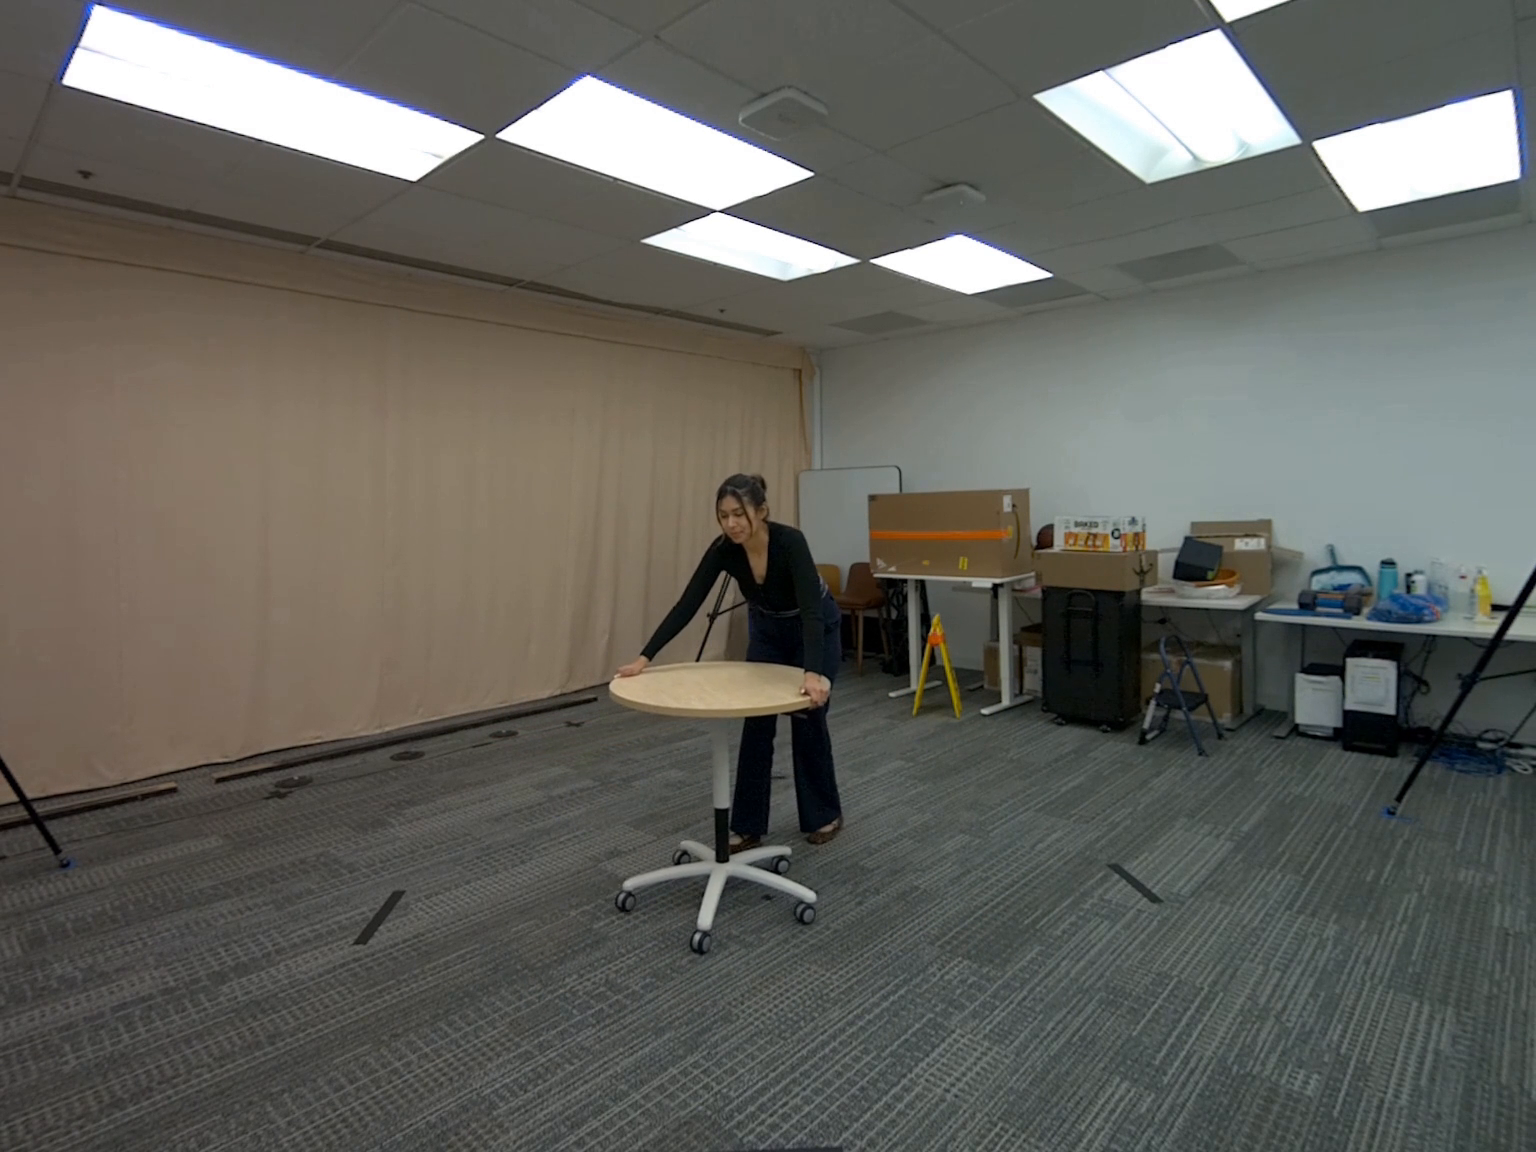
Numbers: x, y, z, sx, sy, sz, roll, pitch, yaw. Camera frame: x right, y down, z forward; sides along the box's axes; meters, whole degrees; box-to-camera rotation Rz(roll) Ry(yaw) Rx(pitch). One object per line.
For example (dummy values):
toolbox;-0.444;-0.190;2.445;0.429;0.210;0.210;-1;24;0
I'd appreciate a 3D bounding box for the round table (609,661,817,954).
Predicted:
round table;-0.161;0.762;2.941;0.763;0.792;0.767;-1;4;-2
